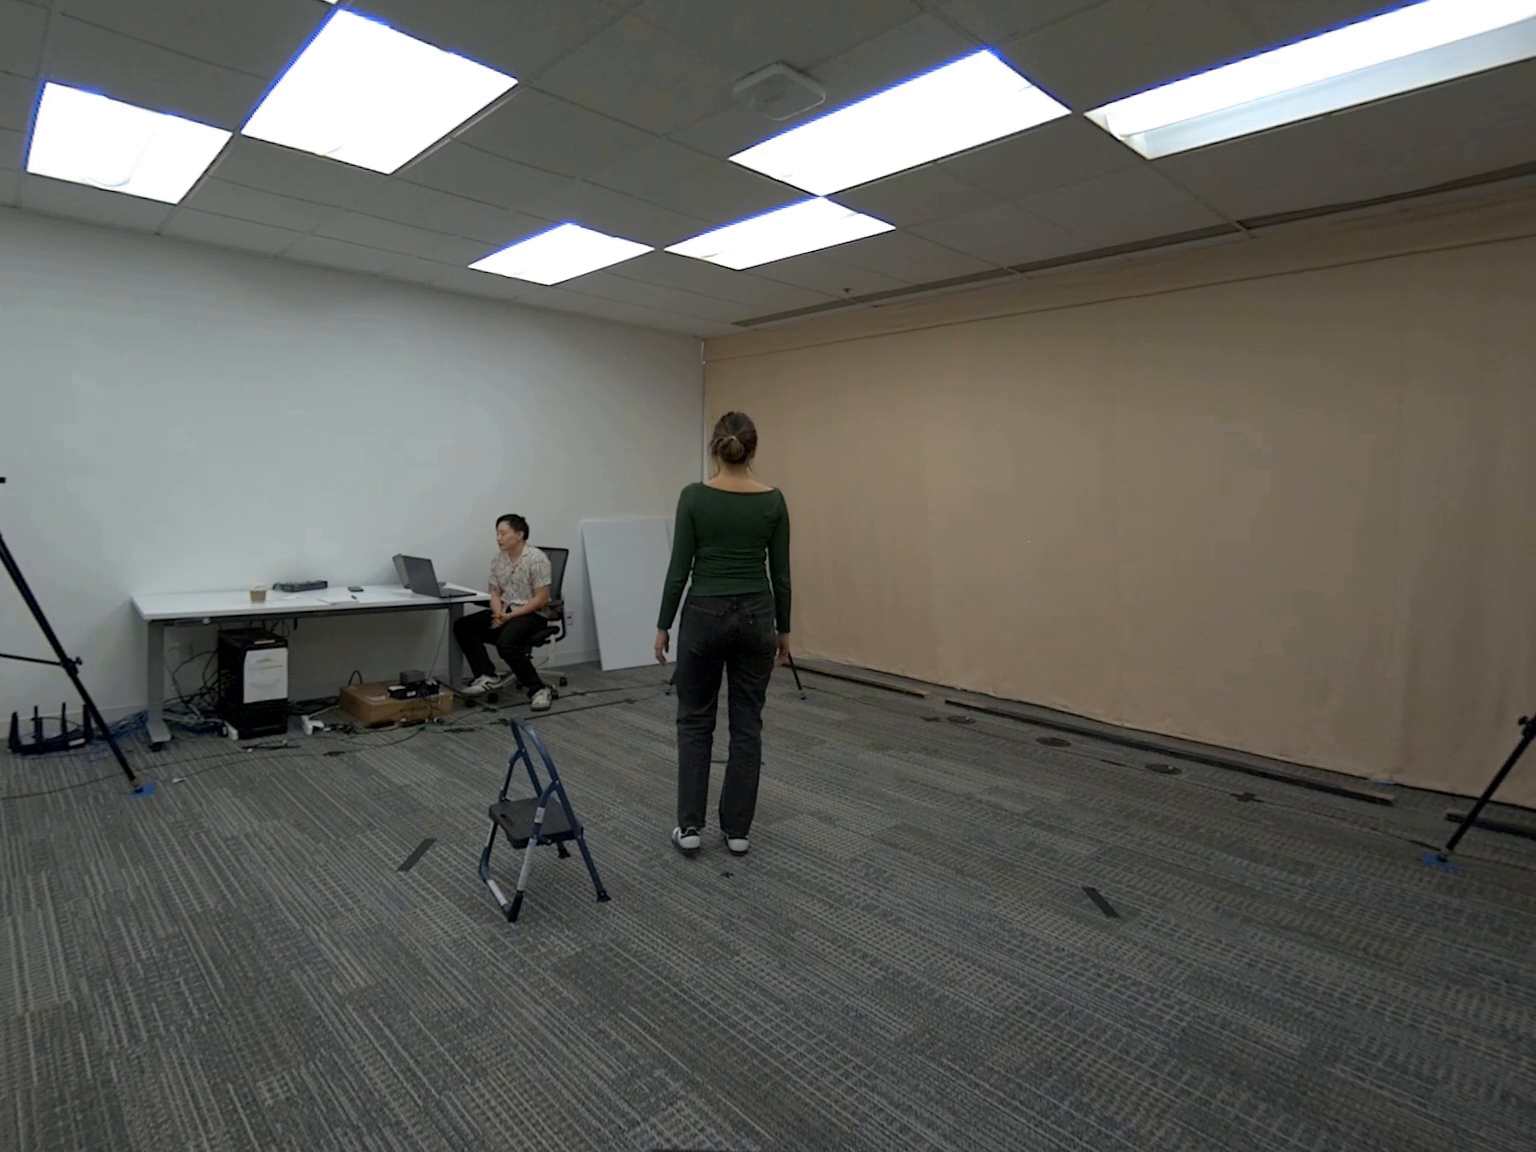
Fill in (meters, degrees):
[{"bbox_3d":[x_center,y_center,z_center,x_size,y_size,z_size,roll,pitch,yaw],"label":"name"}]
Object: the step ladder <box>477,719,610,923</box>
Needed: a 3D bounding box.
[{"bbox_3d":[-0.800,0.799,2.961,0.342,0.604,0.441,-1,4,-33],"label":"step ladder"}]
